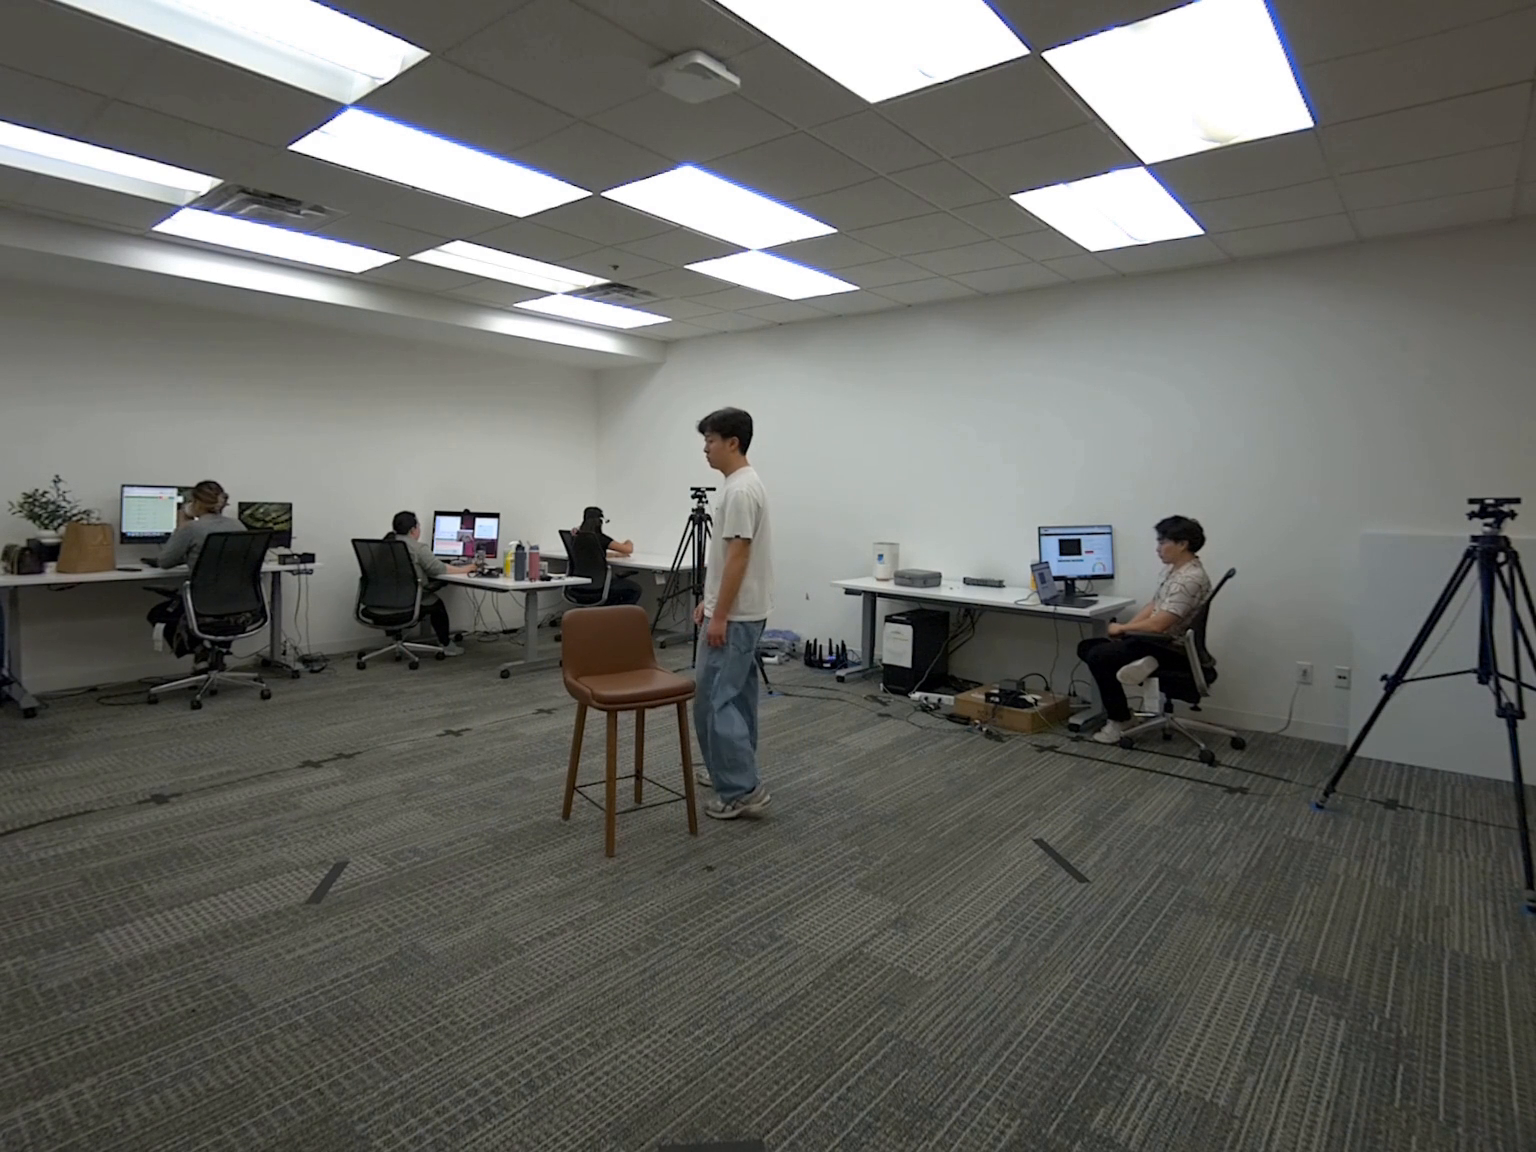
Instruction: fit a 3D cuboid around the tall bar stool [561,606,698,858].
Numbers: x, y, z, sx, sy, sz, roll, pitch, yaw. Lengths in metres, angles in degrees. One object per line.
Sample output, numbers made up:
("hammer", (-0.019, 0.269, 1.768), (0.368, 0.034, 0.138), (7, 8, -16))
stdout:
("tall bar stool", (-0.588, 0.591, 3.461), (0.443, 0.888, 0.482), (-1, 2, -37))
